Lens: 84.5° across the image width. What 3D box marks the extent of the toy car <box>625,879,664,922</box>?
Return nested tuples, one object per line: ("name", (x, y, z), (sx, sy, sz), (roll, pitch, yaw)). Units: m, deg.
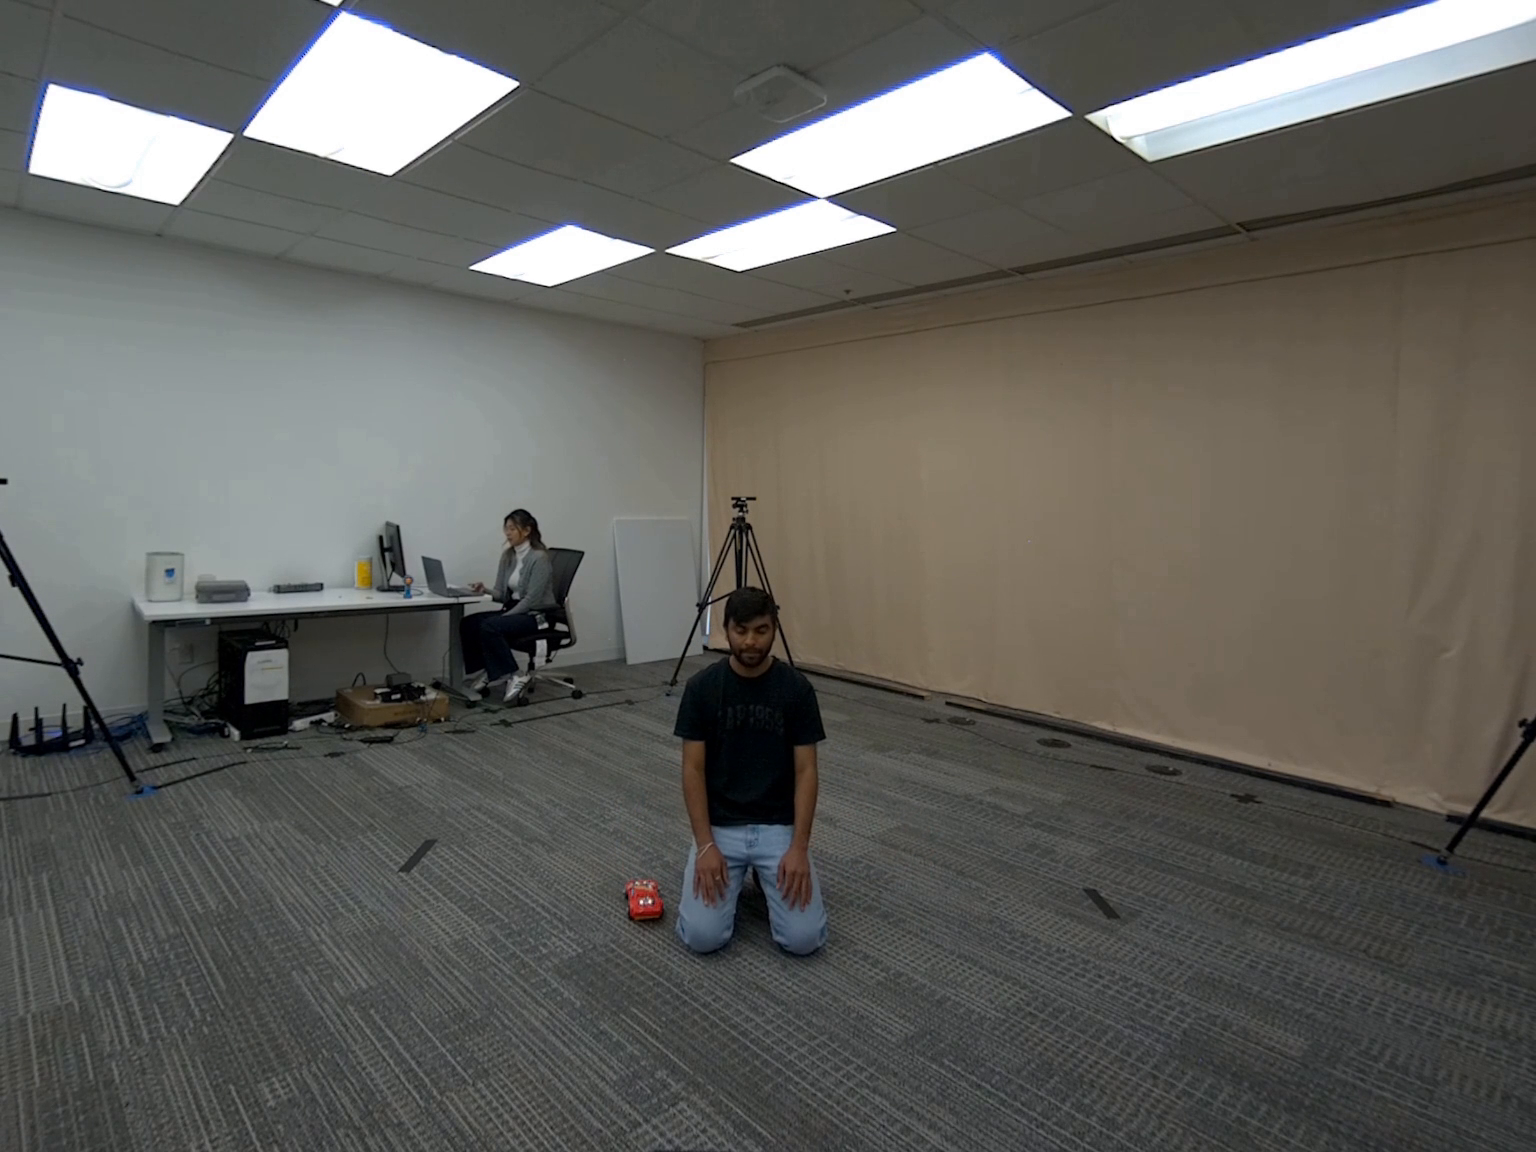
("toy car", (-0.419, 1.087, 2.831), (0.129, 0.083, 0.256), (0, -5, -13))
